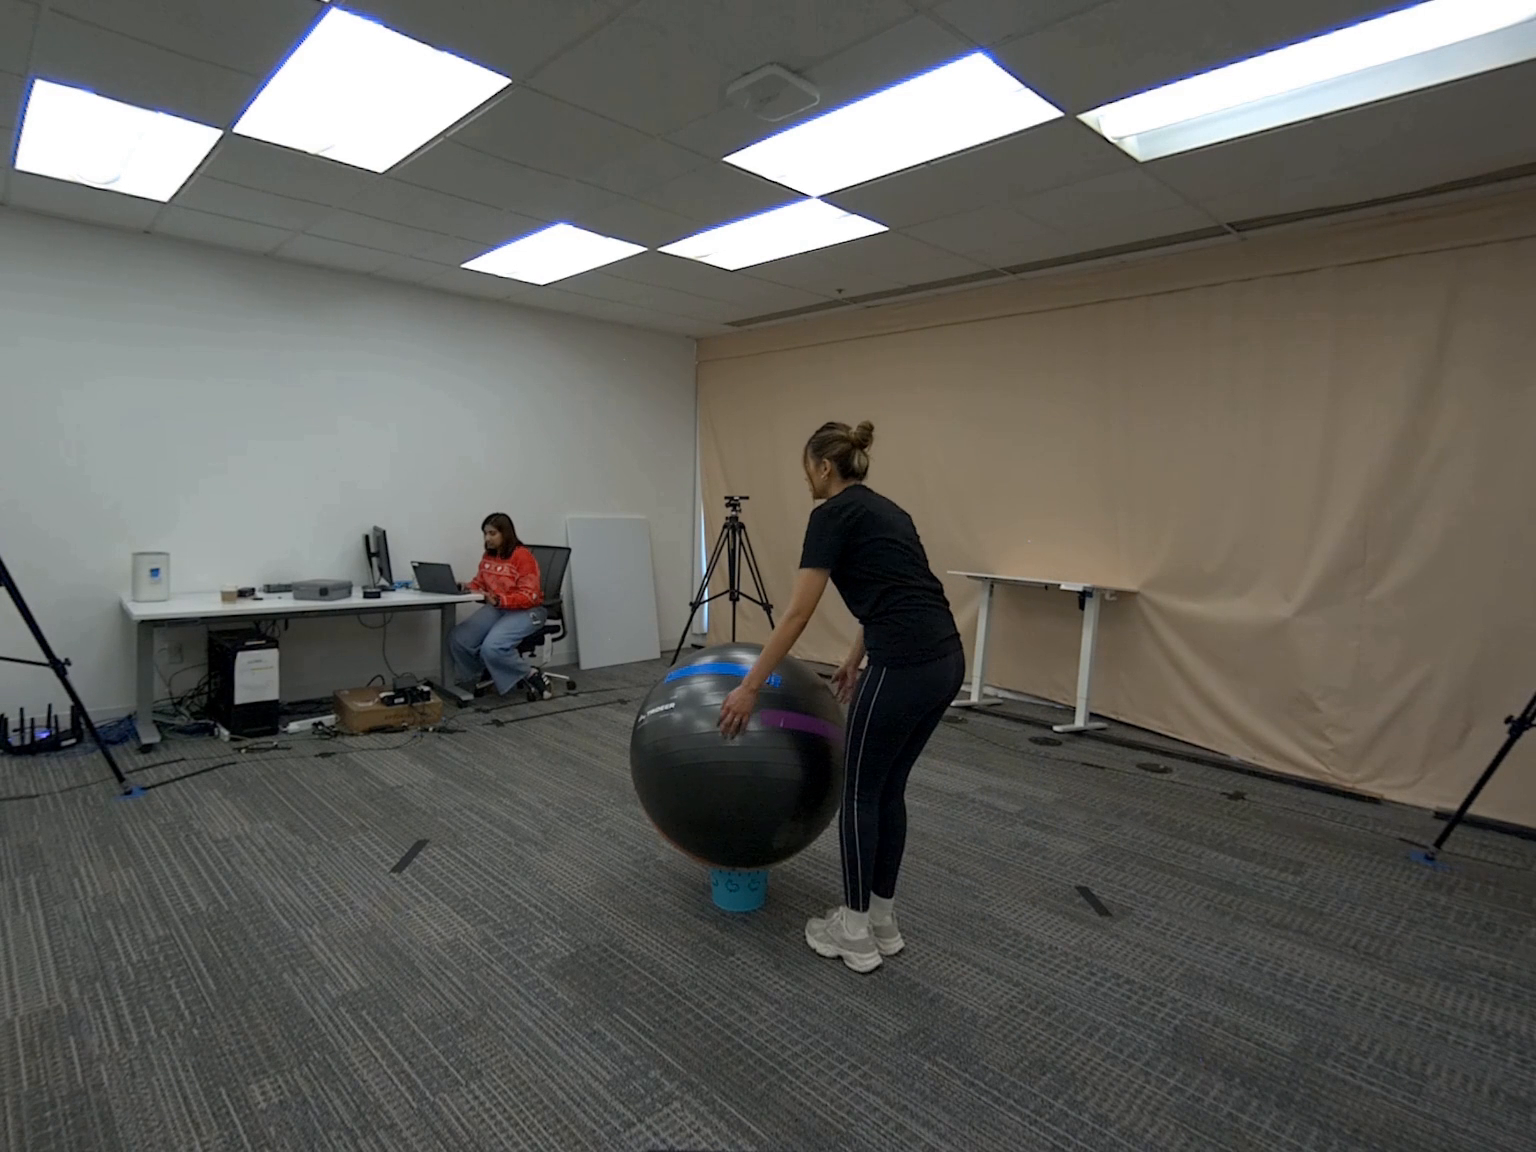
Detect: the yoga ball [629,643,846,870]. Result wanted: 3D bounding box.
[{"bbox_3d":[-0.097,0.614,2.907,0.757,0.756,0.761,1,4,-1],"label":"yoga ball"}]
